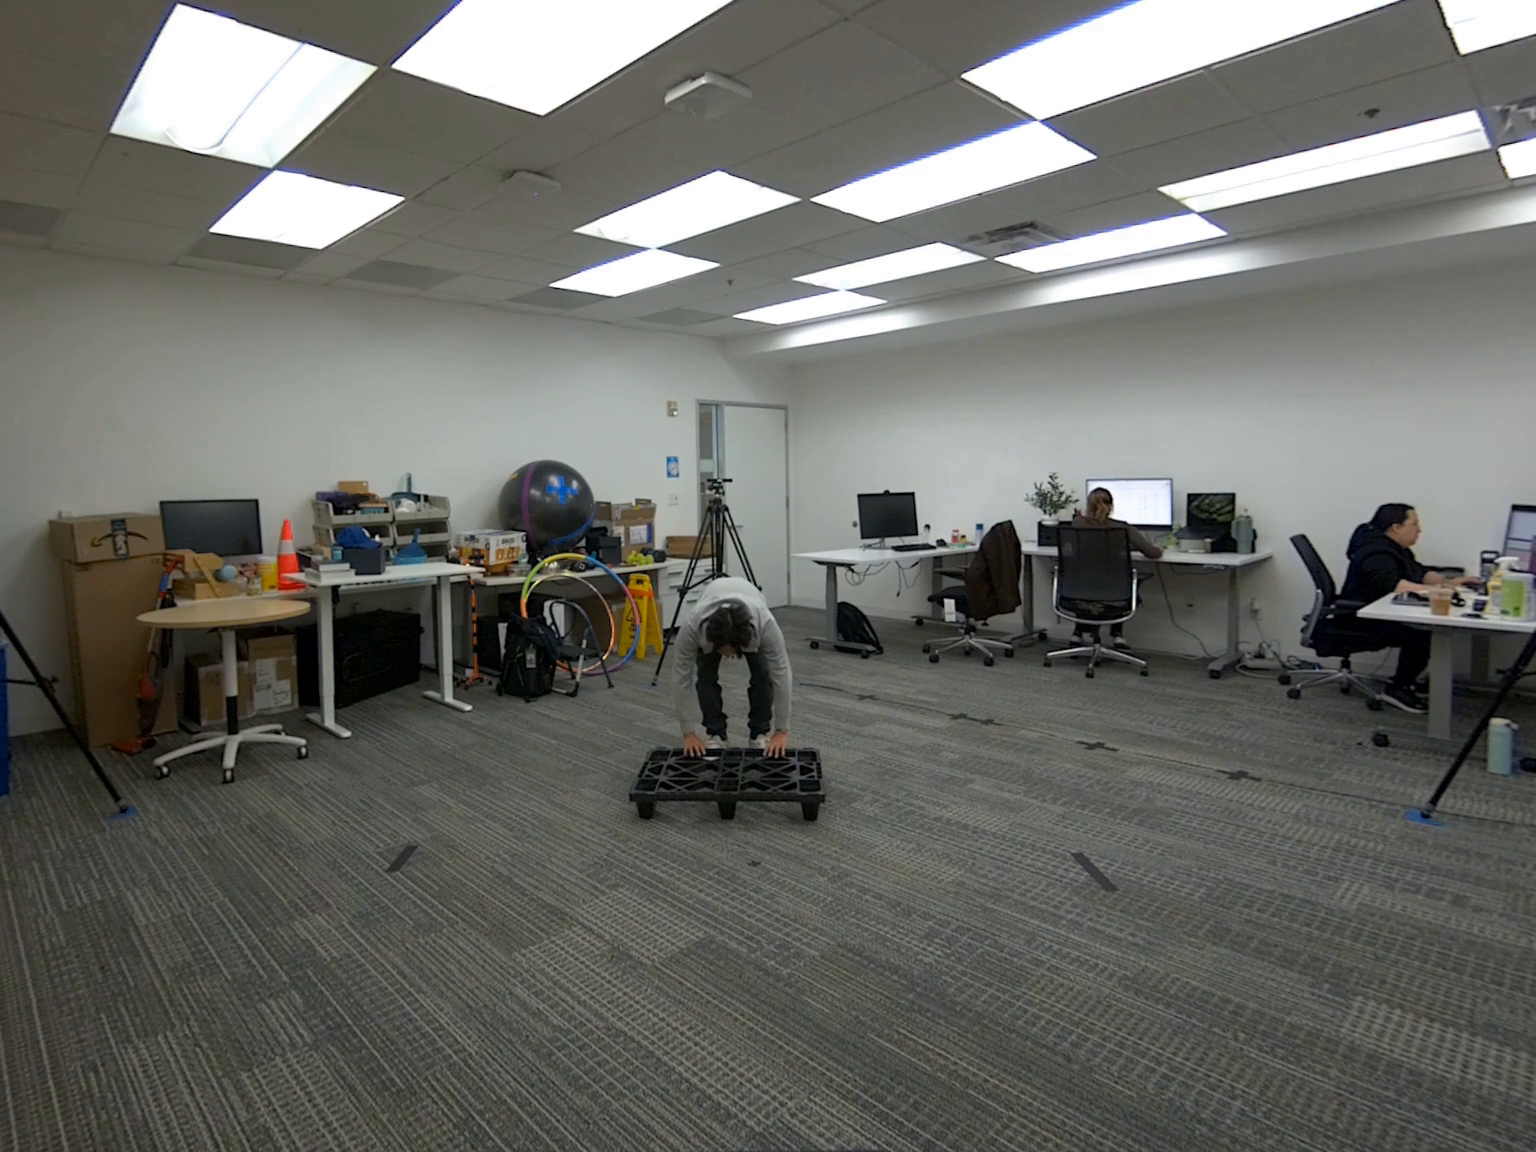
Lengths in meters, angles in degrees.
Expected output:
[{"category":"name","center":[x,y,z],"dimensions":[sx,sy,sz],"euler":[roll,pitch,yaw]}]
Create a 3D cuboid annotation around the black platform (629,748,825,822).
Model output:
[{"category":"black platform","center":[-0.159,0.906,3.736],"dimensions":[0.809,0.142,0.606],"euler":[-1,7,3]}]
